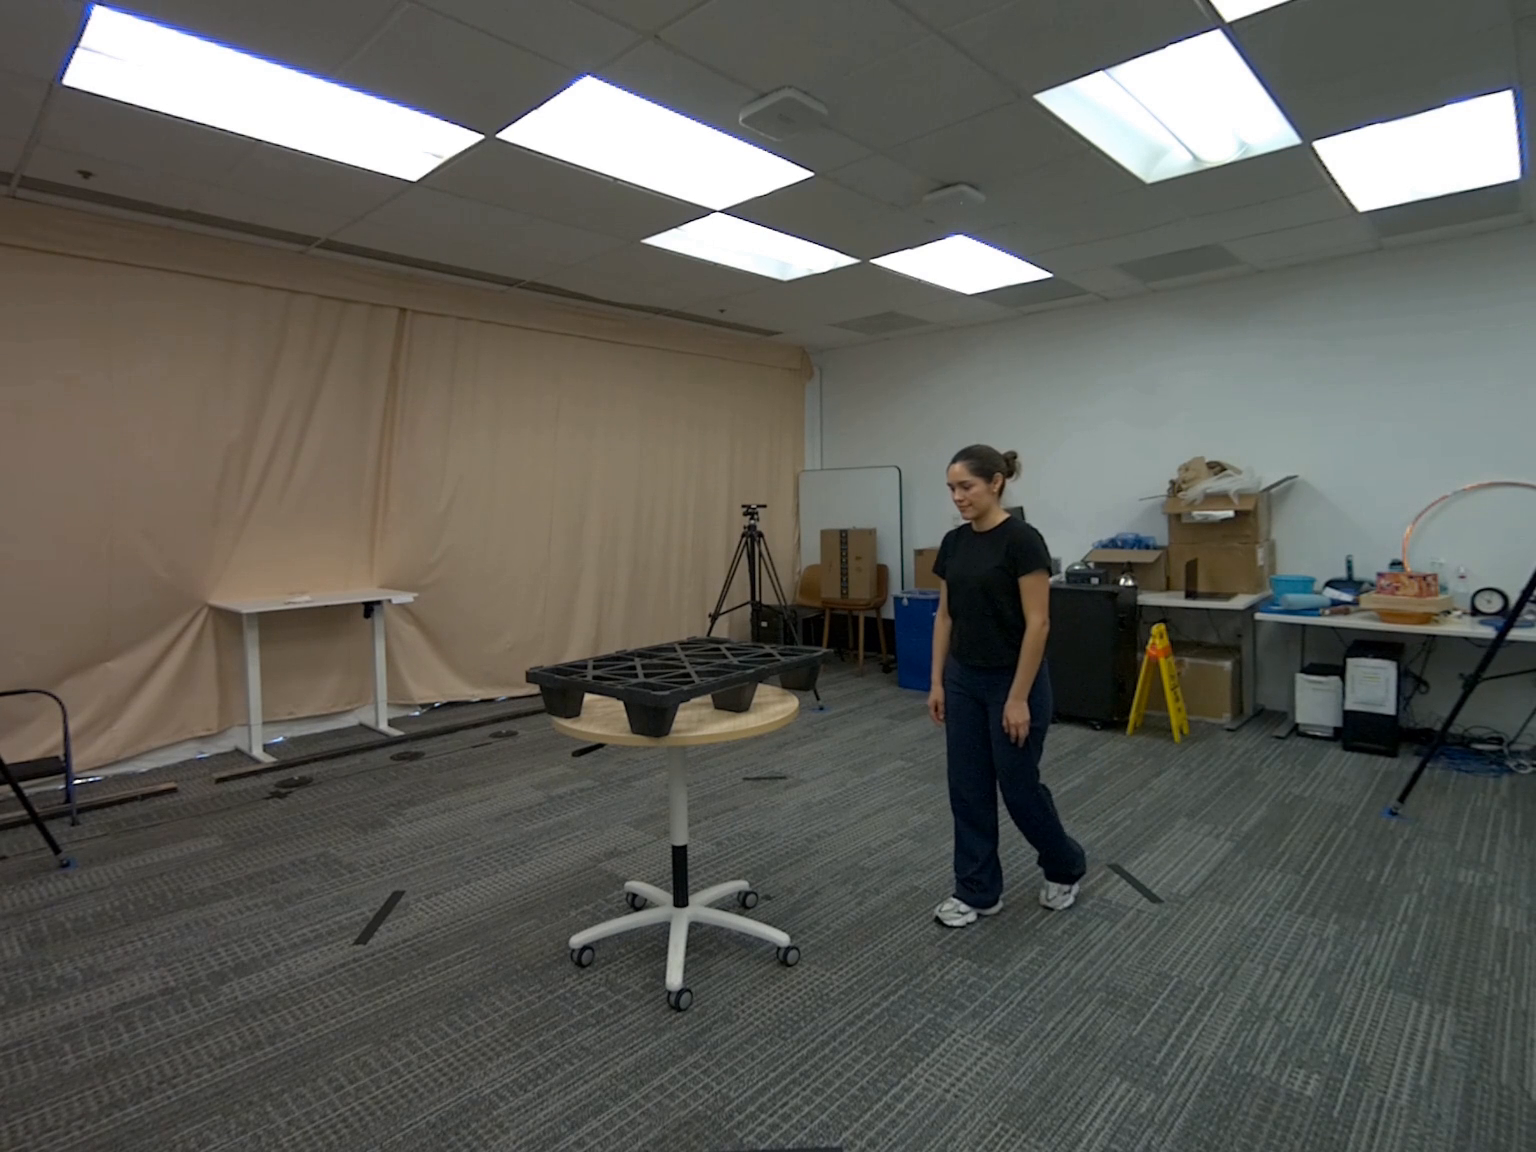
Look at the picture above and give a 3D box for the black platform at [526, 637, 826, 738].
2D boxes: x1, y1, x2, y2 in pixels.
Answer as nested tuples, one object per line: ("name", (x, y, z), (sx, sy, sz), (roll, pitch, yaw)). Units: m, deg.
("black platform", (-0.245, 0.333, 2.641), (0.625, 0.143, 0.781), (2, 5, 40))
